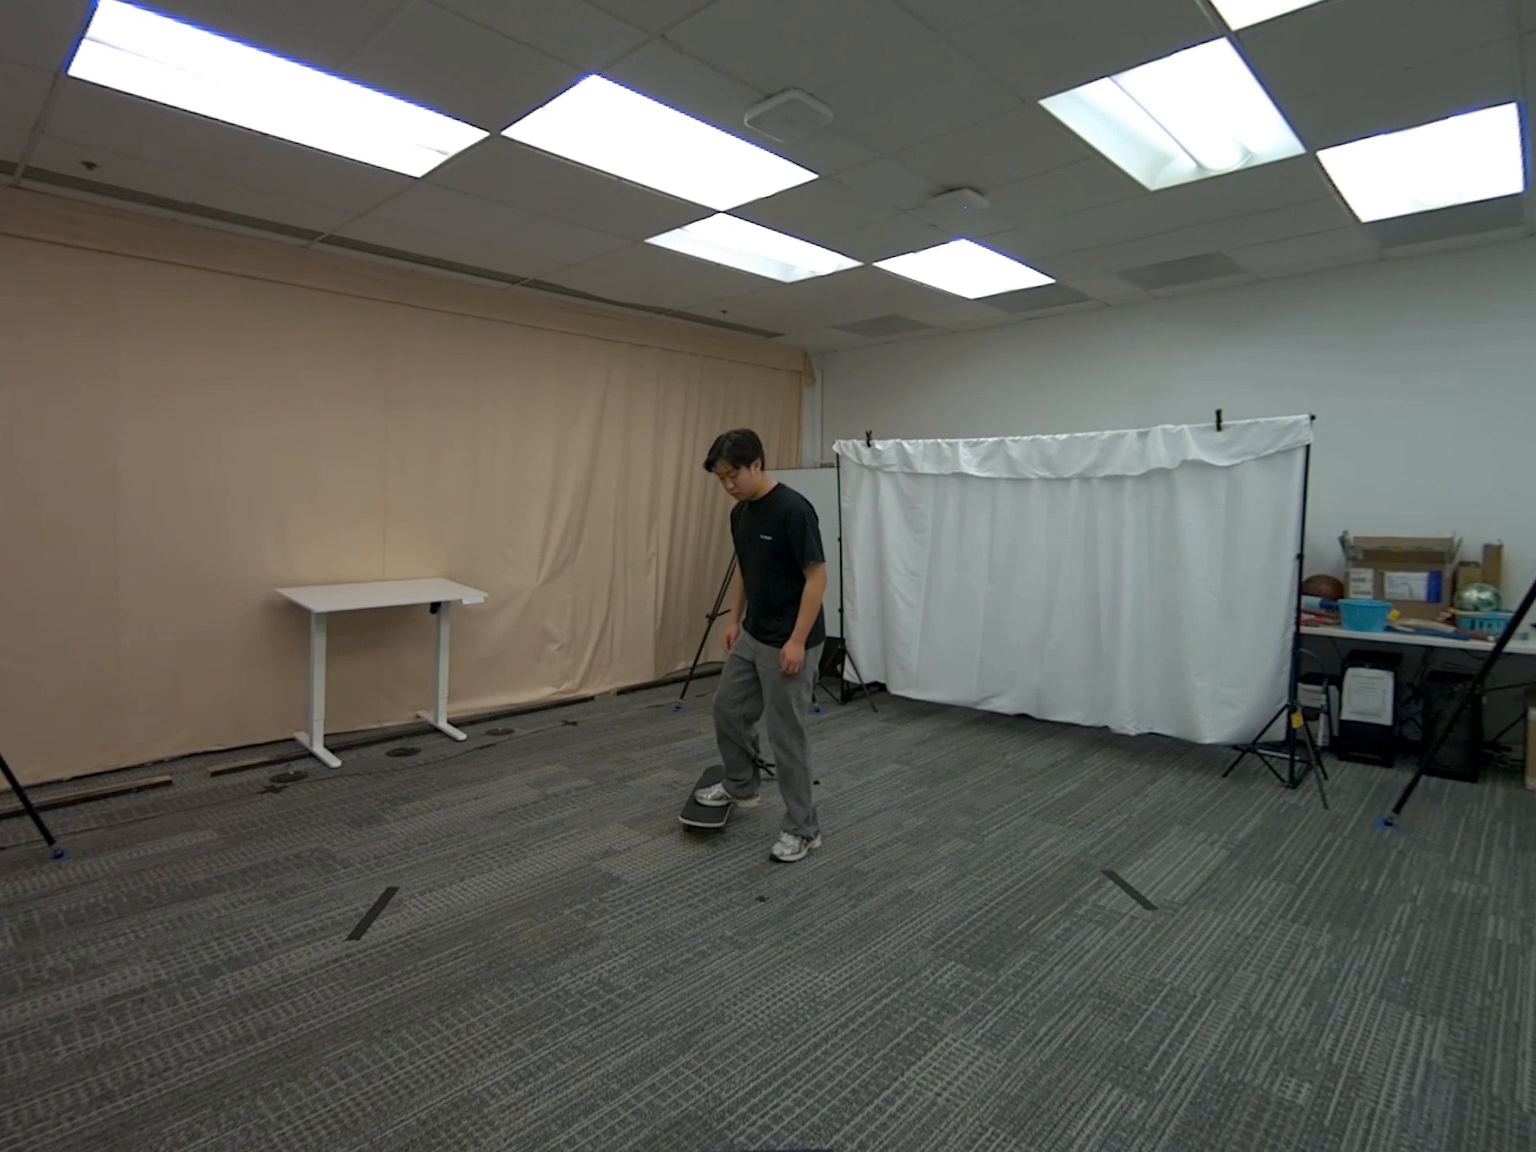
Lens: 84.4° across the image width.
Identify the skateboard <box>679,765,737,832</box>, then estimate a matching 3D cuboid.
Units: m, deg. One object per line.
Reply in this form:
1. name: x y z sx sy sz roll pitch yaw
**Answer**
1. skateboard: -0.250 1.020 3.792 0.195 0.110 0.782 3 5 4
